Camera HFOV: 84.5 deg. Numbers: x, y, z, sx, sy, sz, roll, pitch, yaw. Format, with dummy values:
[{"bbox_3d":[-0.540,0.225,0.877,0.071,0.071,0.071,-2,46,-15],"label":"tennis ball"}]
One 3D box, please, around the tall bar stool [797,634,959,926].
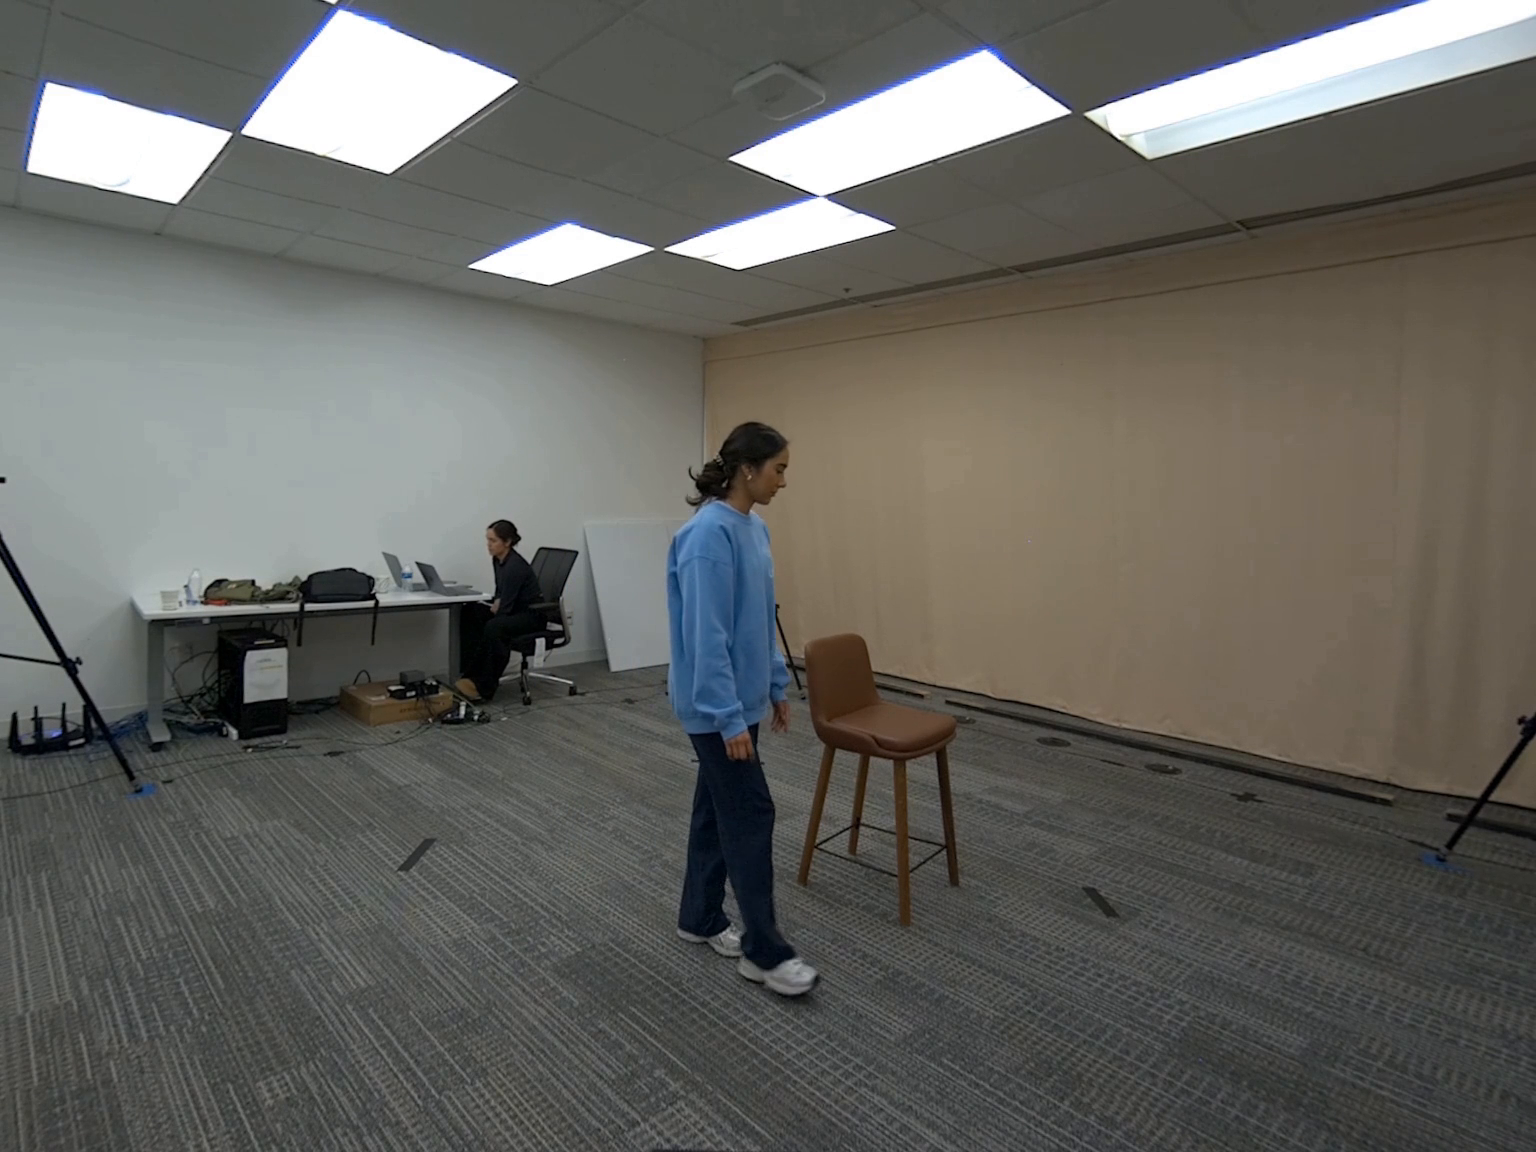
[{"bbox_3d":[0.403,0.688,3.026,0.479,0.888,0.446,2,3,38],"label":"tall bar stool"}]
